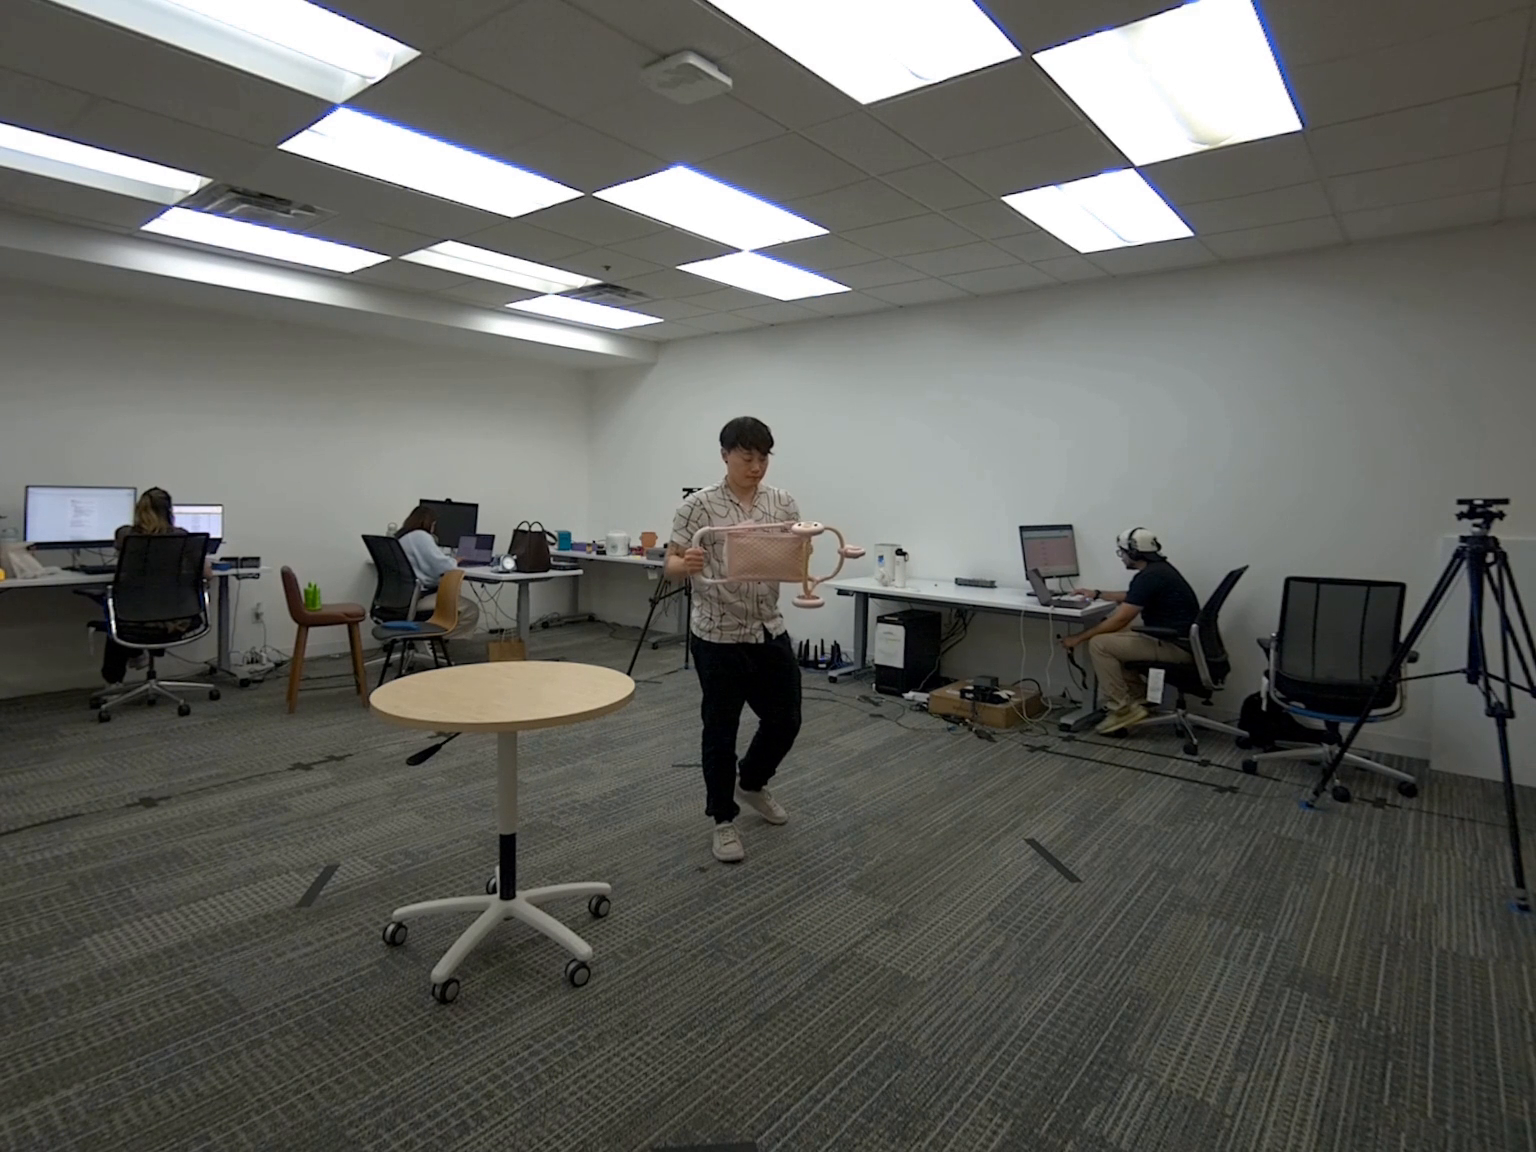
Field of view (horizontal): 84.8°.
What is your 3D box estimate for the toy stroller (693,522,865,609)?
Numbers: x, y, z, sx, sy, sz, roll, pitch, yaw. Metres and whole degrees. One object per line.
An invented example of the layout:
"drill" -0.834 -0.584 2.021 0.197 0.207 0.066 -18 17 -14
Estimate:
"toy stroller" 0.039 -0.080 3.005 0.550 0.277 0.337 5 18 26
